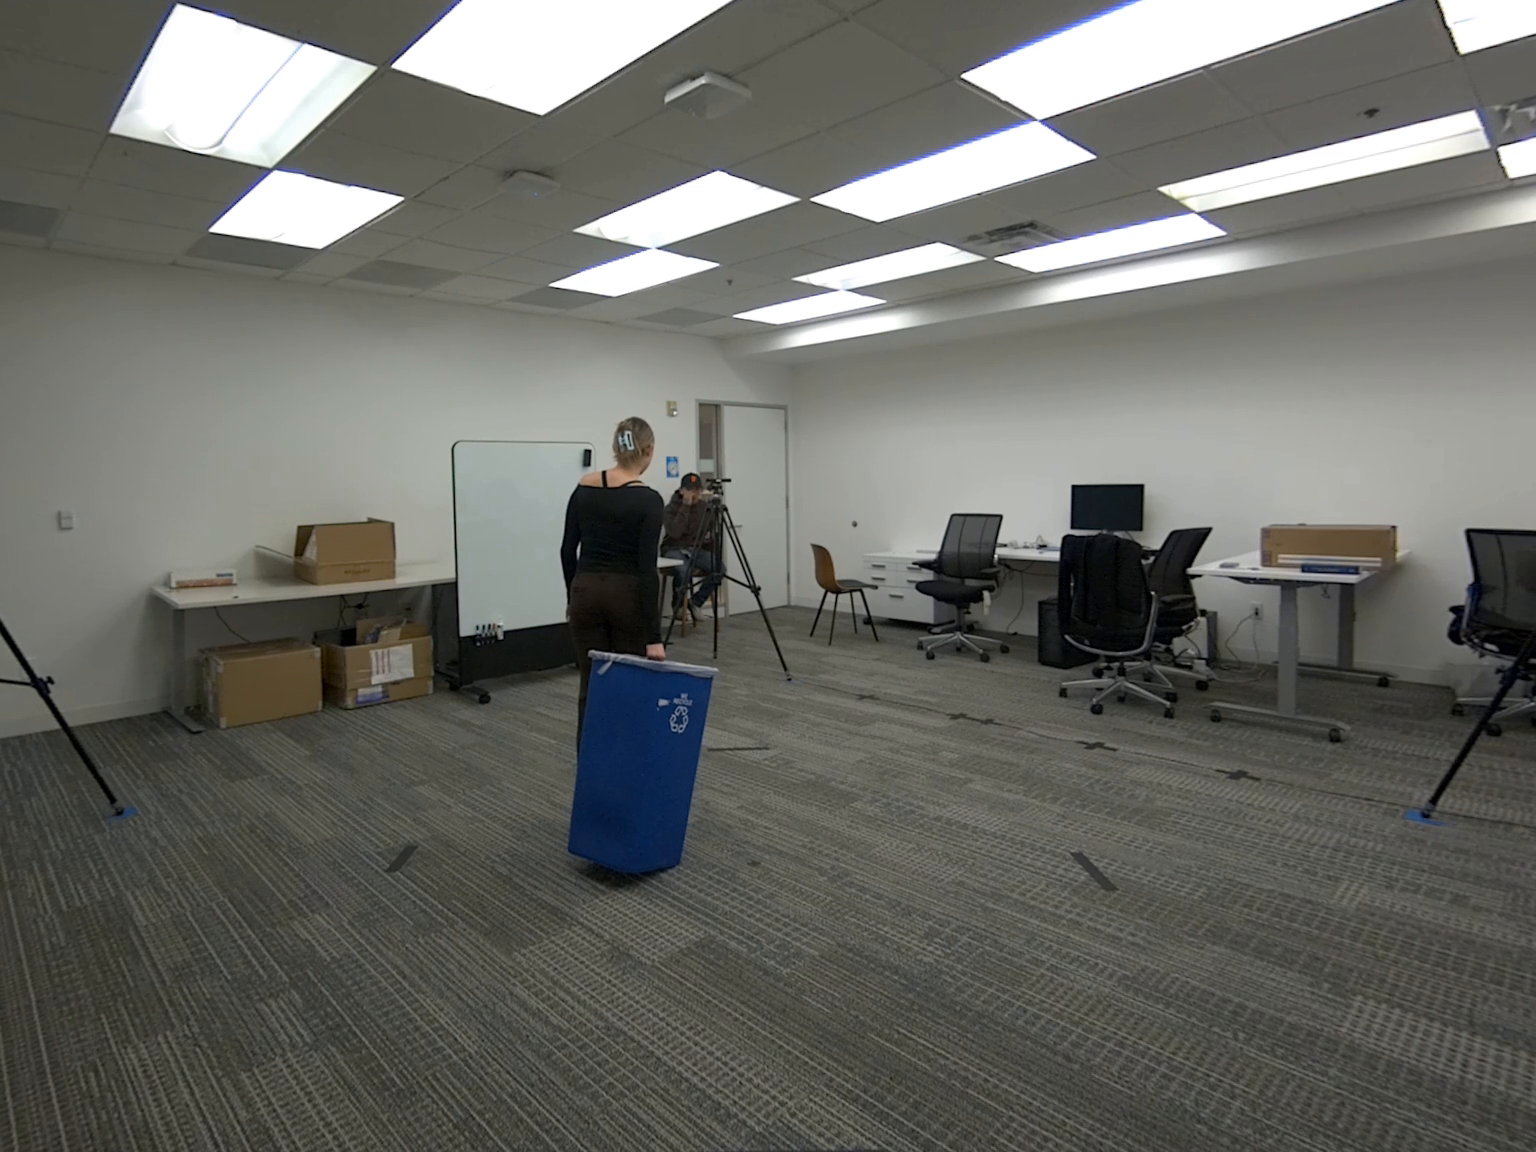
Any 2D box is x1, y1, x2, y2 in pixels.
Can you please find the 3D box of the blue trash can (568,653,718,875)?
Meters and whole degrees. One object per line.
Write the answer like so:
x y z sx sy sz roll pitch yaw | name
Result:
-0.469 0.664 3.140 0.389 0.717 0.361 4 -8 34 | blue trash can
